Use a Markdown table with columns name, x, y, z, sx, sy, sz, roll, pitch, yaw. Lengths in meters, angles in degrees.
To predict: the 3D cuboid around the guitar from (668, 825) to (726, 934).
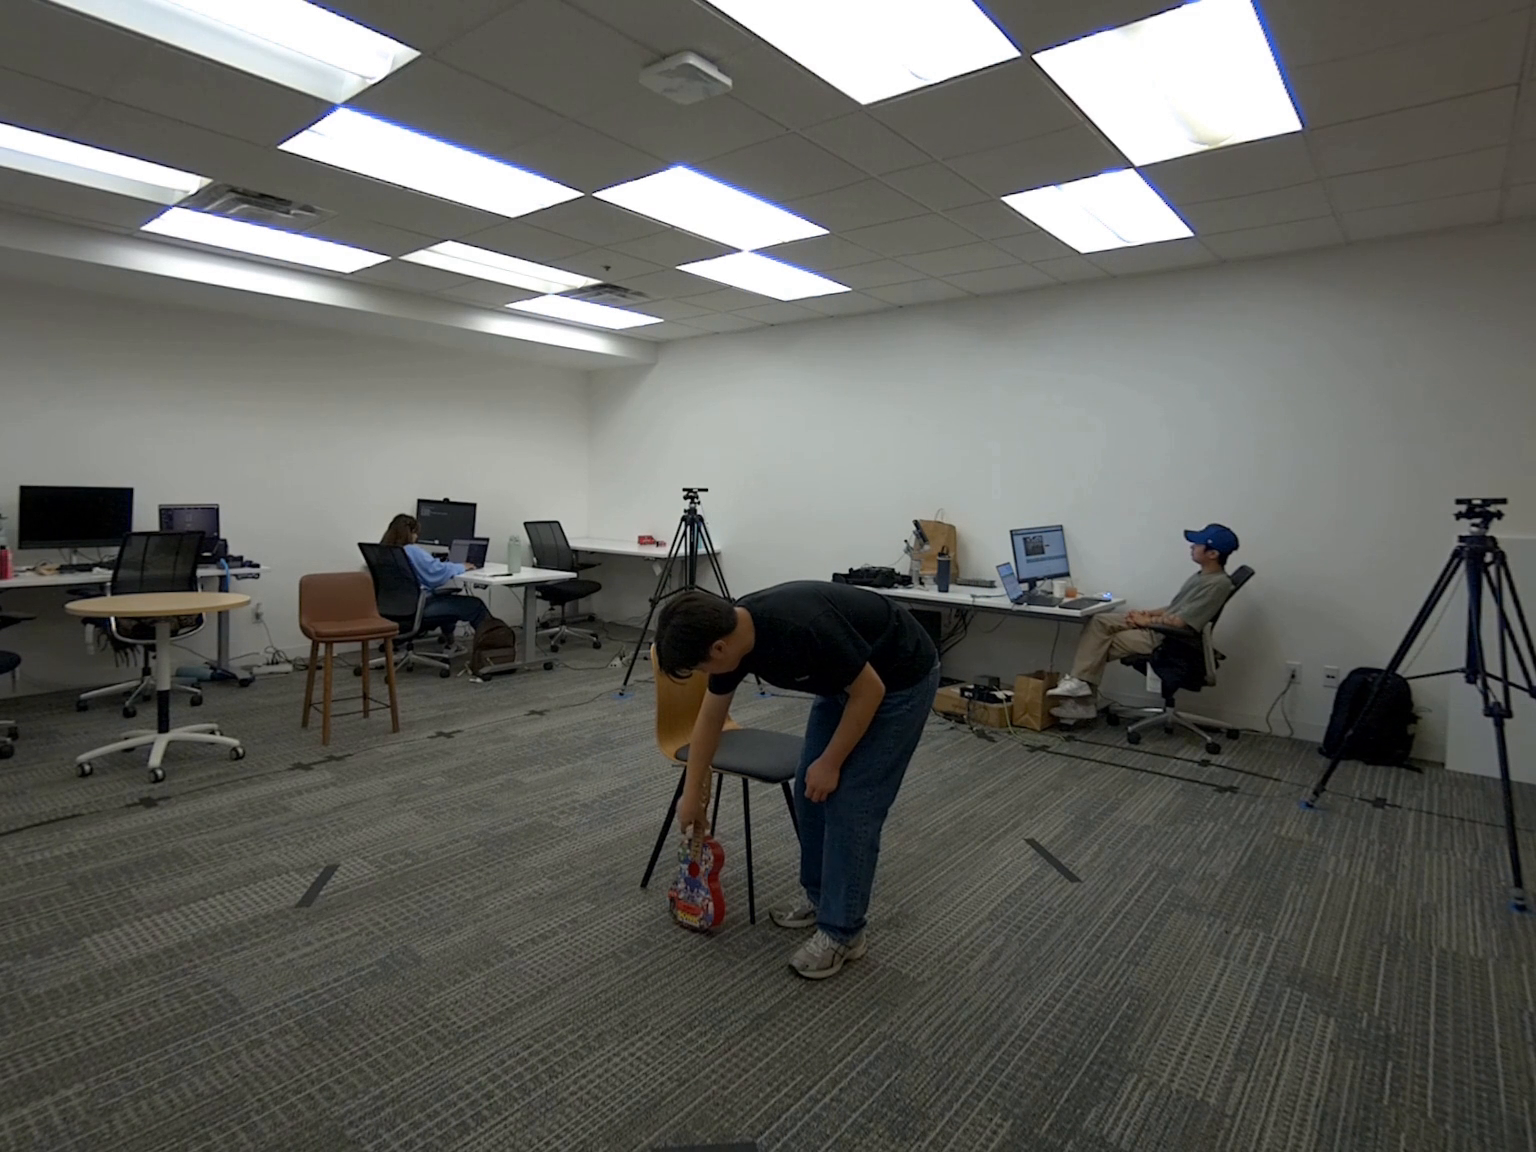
| name | x | y | z | sx | sy | sz | roll | pitch | yaw |
| --- | --- | --- | --- | --- | --- | --- | --- | --- | --- |
| guitar | -0.199 | 0.863 | 2.708 | 0.200 | 0.499 | 0.068 | 11 | -4 | 35 |
